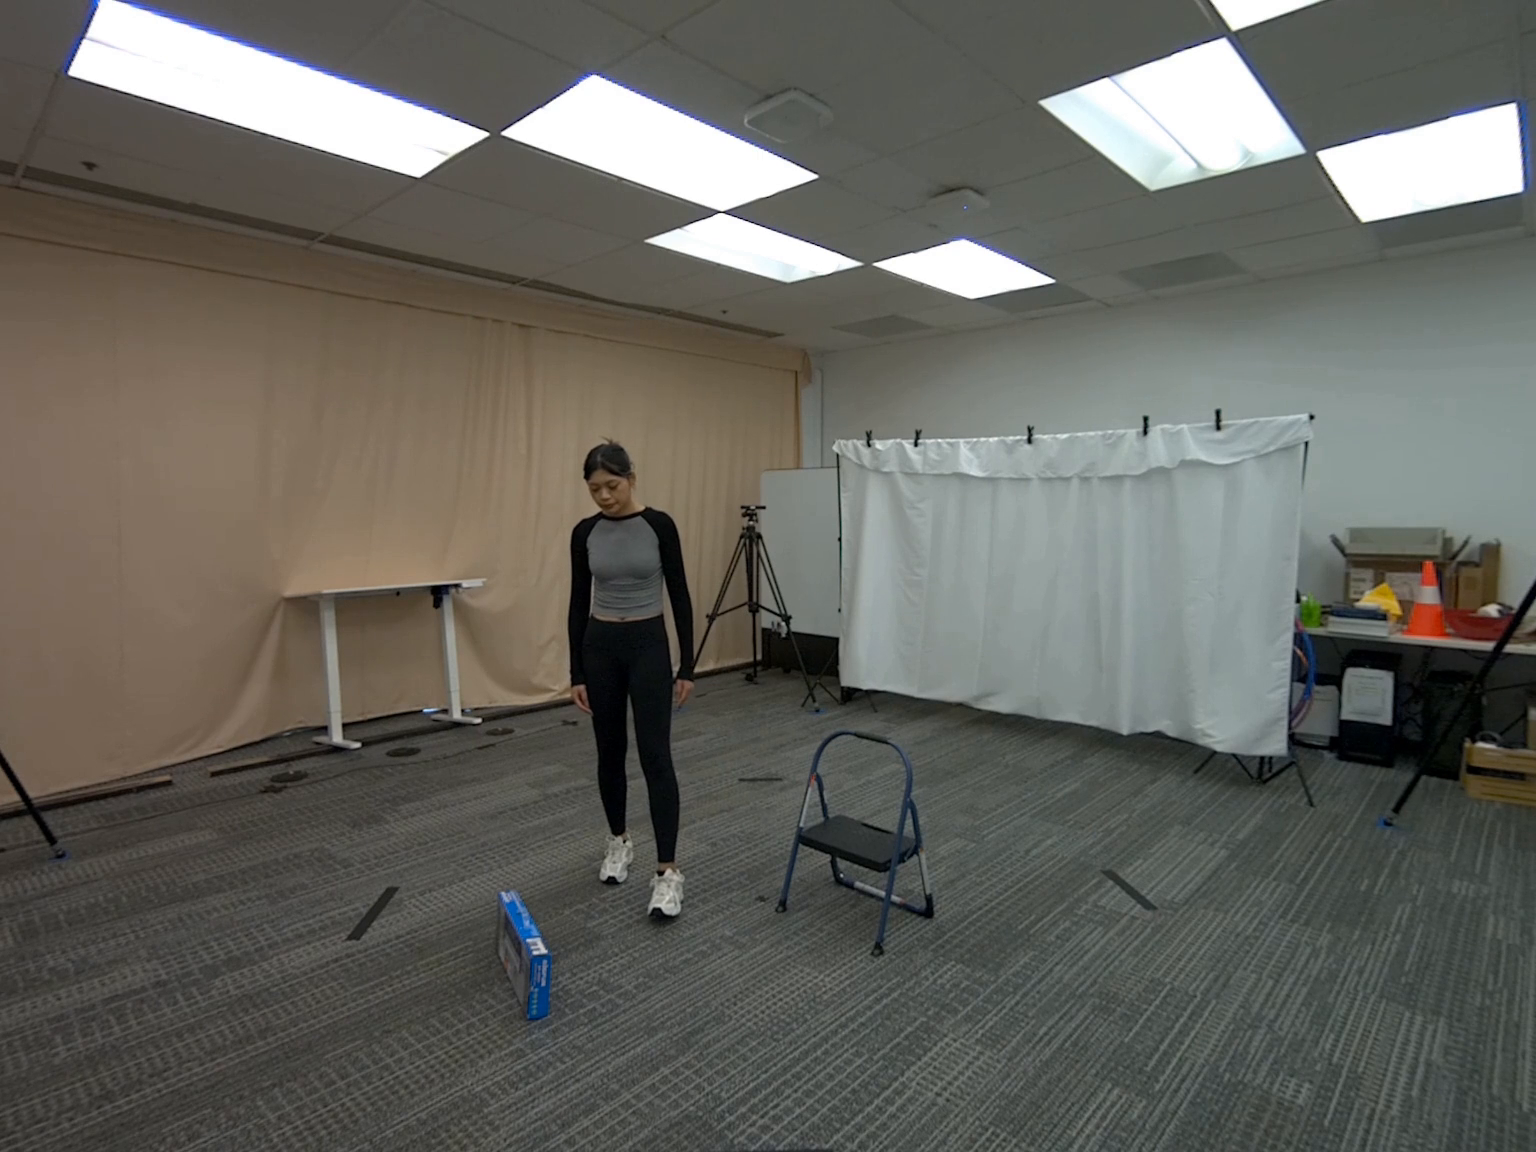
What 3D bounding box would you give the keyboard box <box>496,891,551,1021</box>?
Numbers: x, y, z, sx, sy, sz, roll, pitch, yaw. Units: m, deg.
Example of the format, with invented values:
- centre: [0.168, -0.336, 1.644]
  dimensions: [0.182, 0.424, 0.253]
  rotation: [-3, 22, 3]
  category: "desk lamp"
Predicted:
- centre: [-0.729, 1.107, 2.476]
  dimensions: [0.057, 0.176, 0.449]
  rotation: [4, 2, -29]
  category: "keyboard box"
